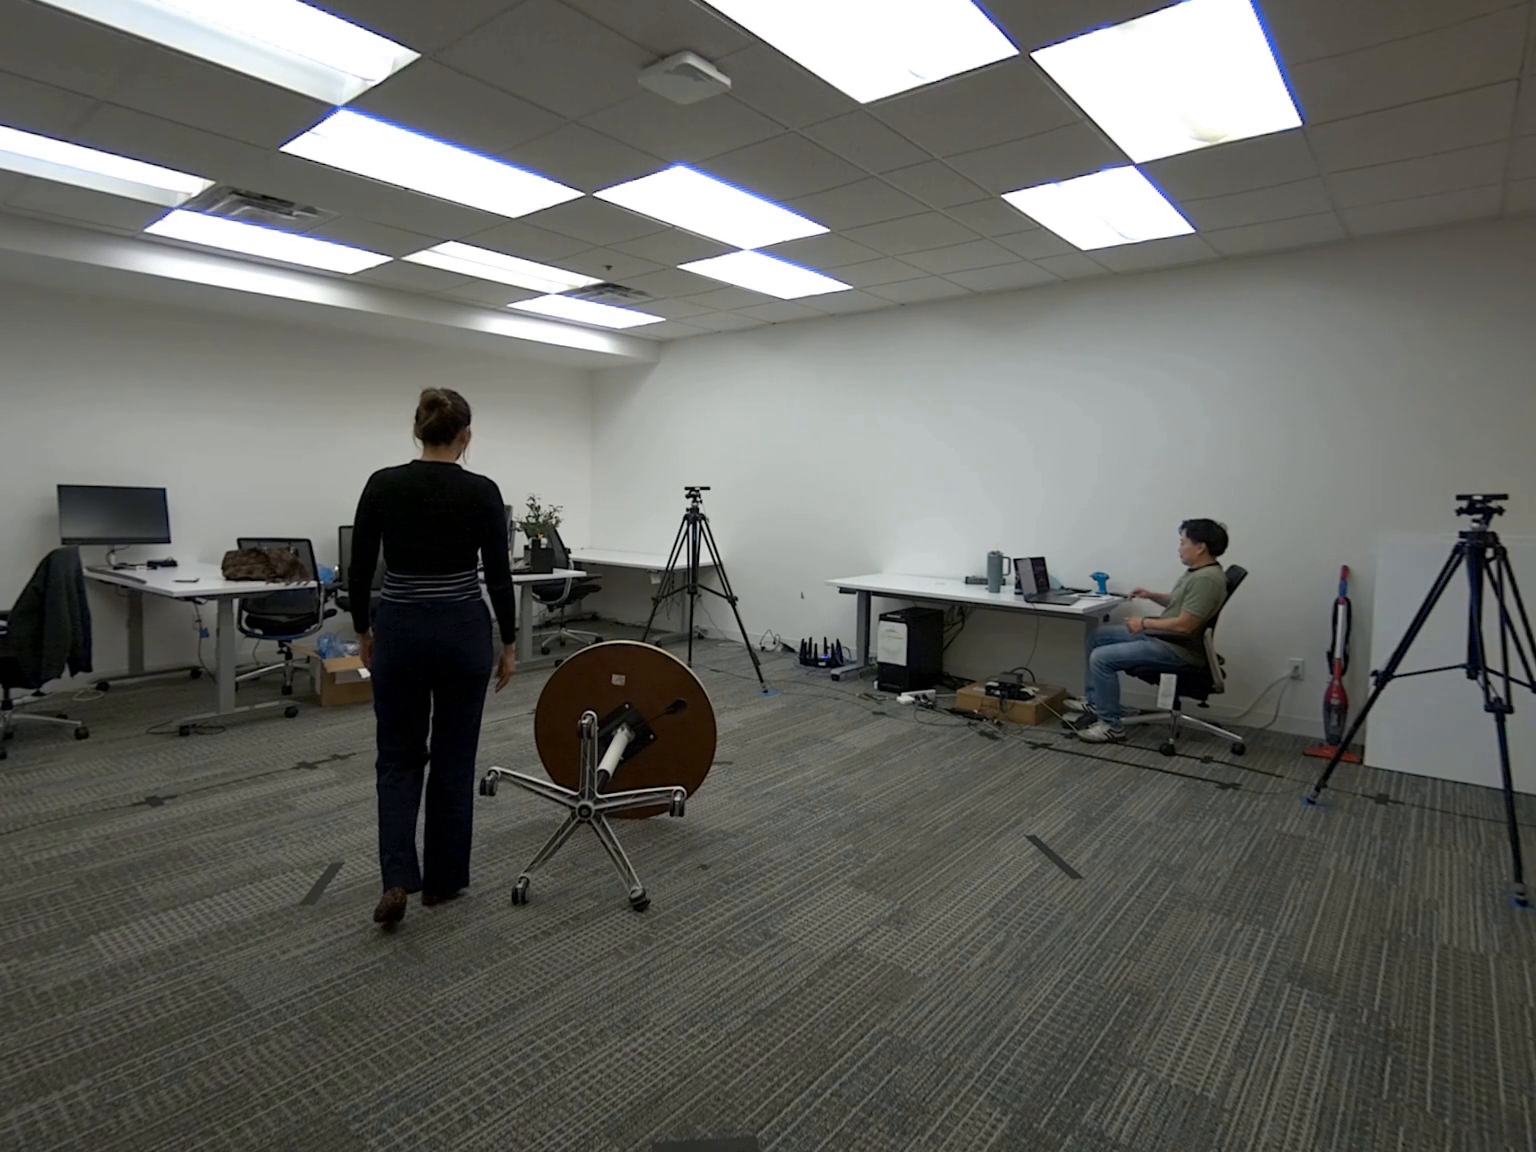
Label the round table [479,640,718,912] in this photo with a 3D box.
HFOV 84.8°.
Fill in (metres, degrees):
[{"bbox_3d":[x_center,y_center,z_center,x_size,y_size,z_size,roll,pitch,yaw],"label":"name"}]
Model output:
[{"bbox_3d":[-0.610,0.723,3.132,0.767,0.757,0.798,1,10,3],"label":"round table"}]
